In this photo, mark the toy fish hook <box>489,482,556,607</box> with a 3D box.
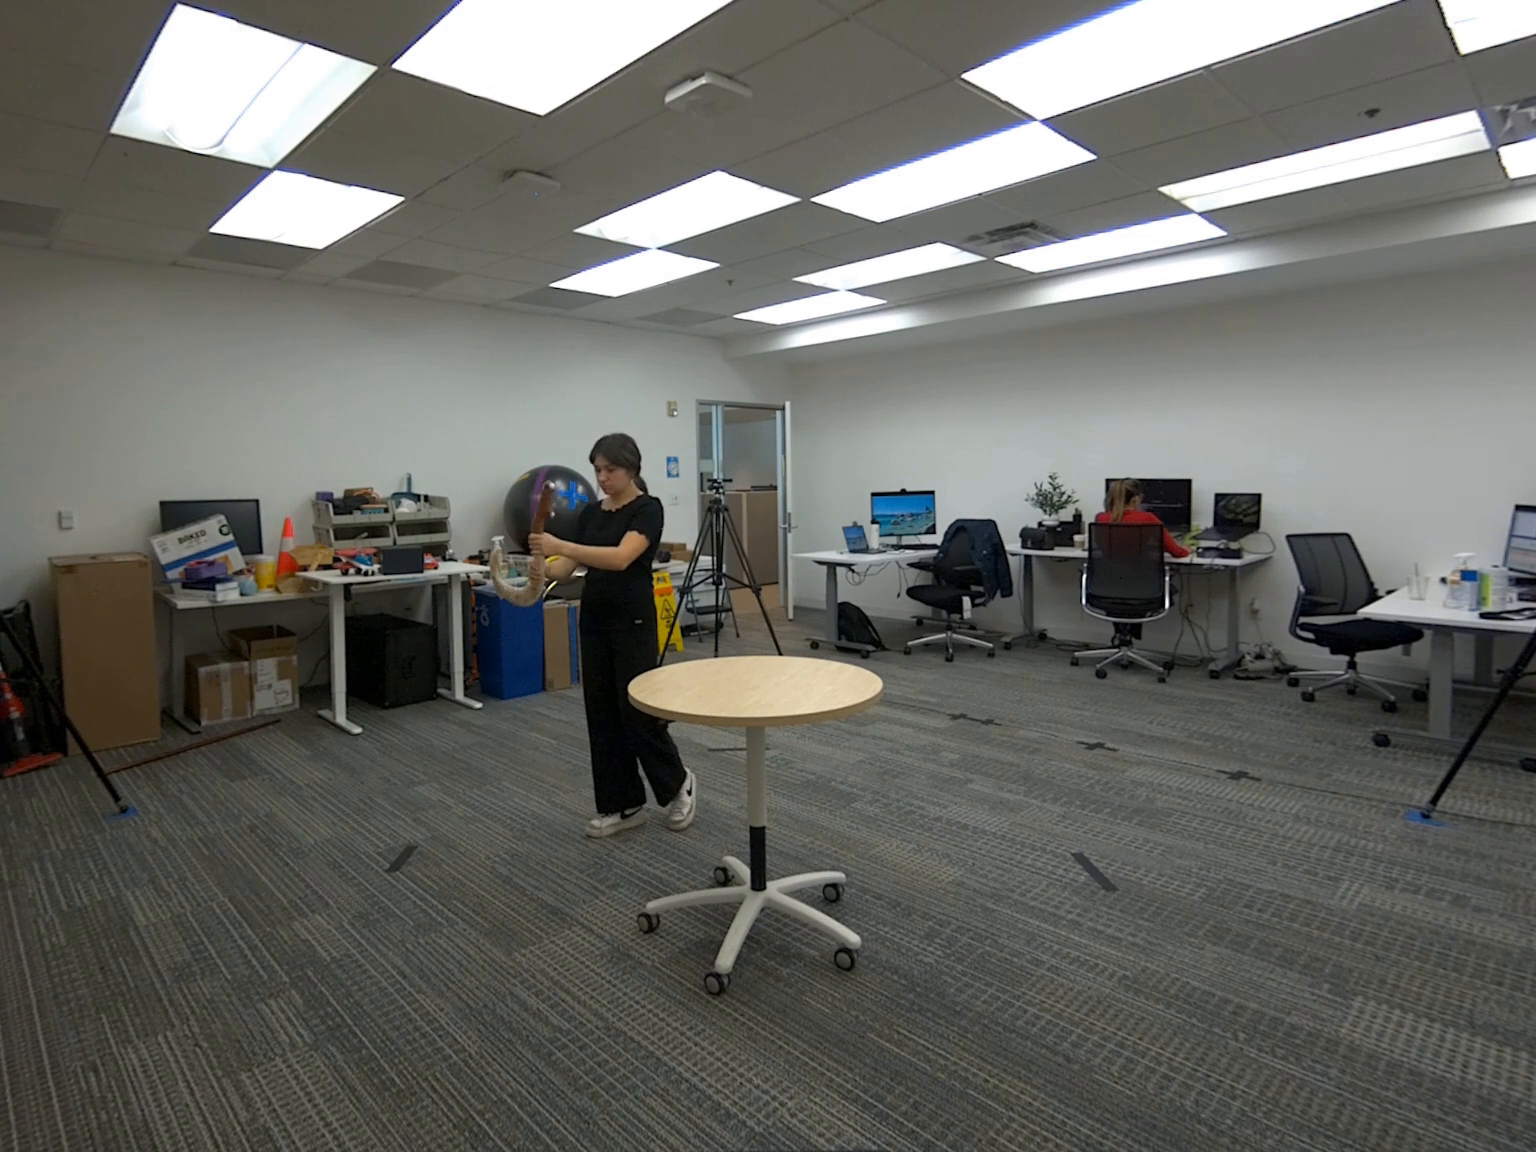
[{"bbox_3d":[-0.877,-0.123,3.046,0.225,0.500,0.049,13,21,1],"label":"toy fish hook"}]
